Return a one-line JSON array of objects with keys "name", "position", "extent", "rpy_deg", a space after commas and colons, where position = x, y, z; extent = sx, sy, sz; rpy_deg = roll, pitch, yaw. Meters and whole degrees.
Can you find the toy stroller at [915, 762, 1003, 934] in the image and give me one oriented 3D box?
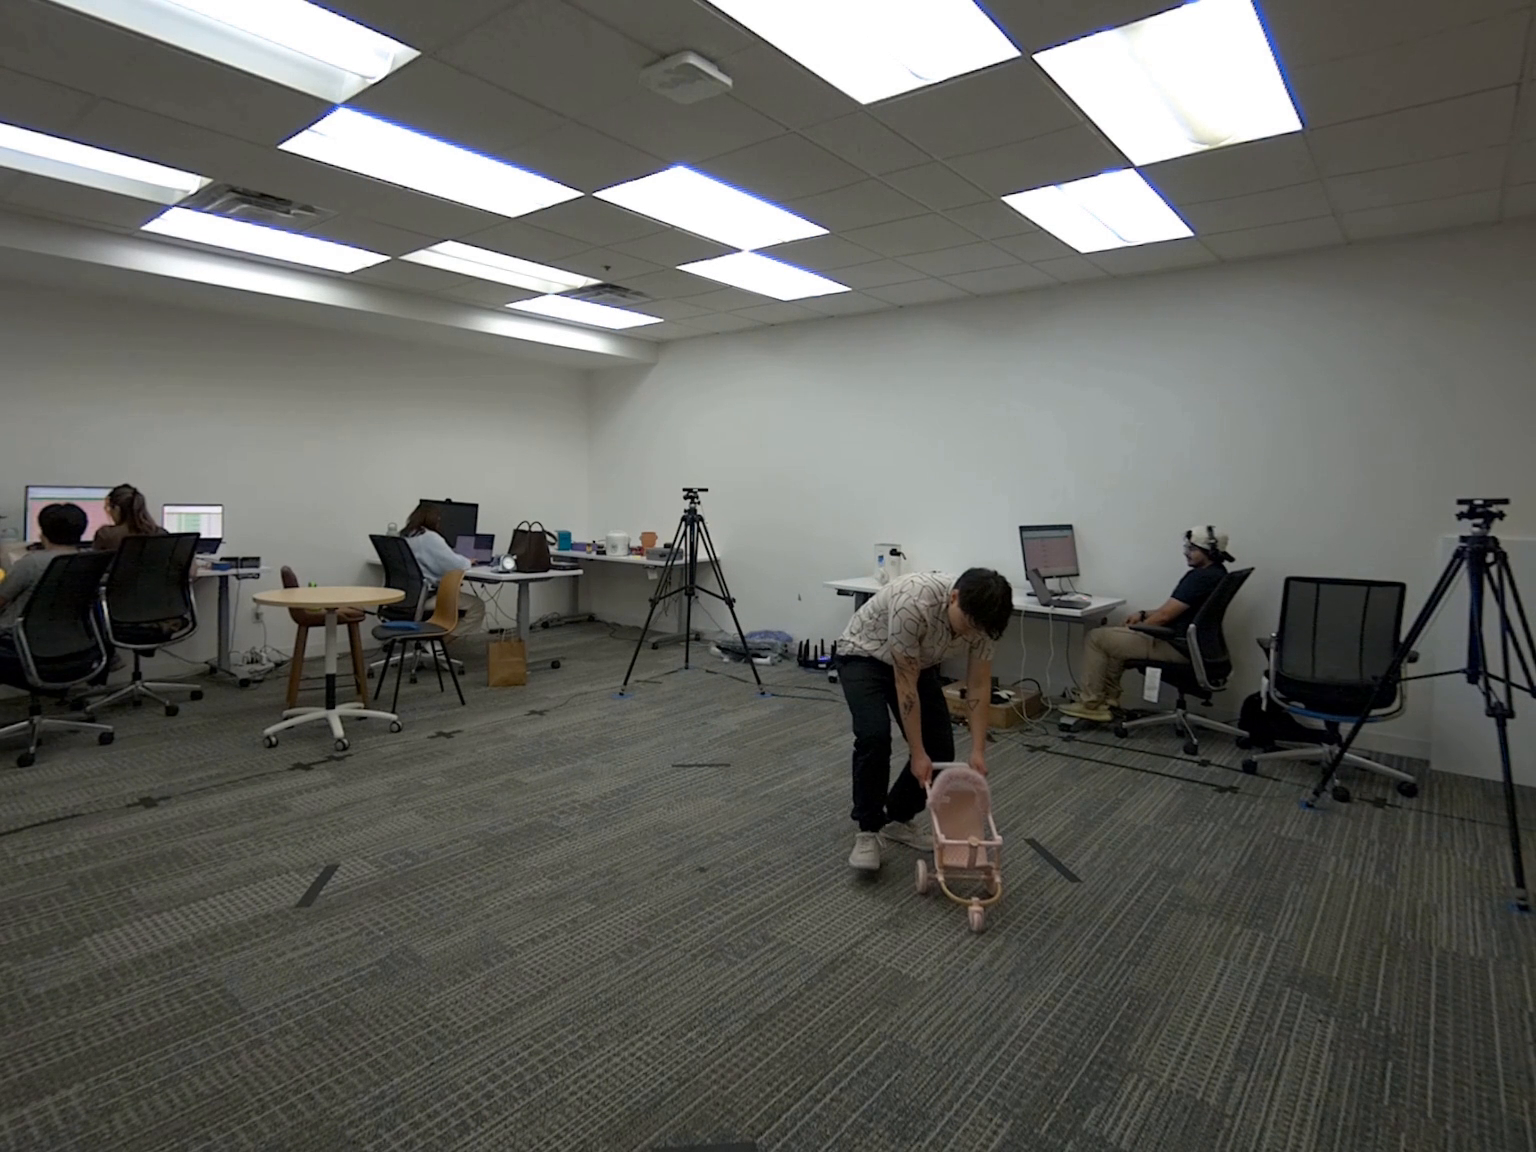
[{"name": "toy stroller", "position": [0.649, 0.886, 2.906], "extent": [0.283, 0.543, 0.334], "rpy_deg": [1, -16, 5]}]
